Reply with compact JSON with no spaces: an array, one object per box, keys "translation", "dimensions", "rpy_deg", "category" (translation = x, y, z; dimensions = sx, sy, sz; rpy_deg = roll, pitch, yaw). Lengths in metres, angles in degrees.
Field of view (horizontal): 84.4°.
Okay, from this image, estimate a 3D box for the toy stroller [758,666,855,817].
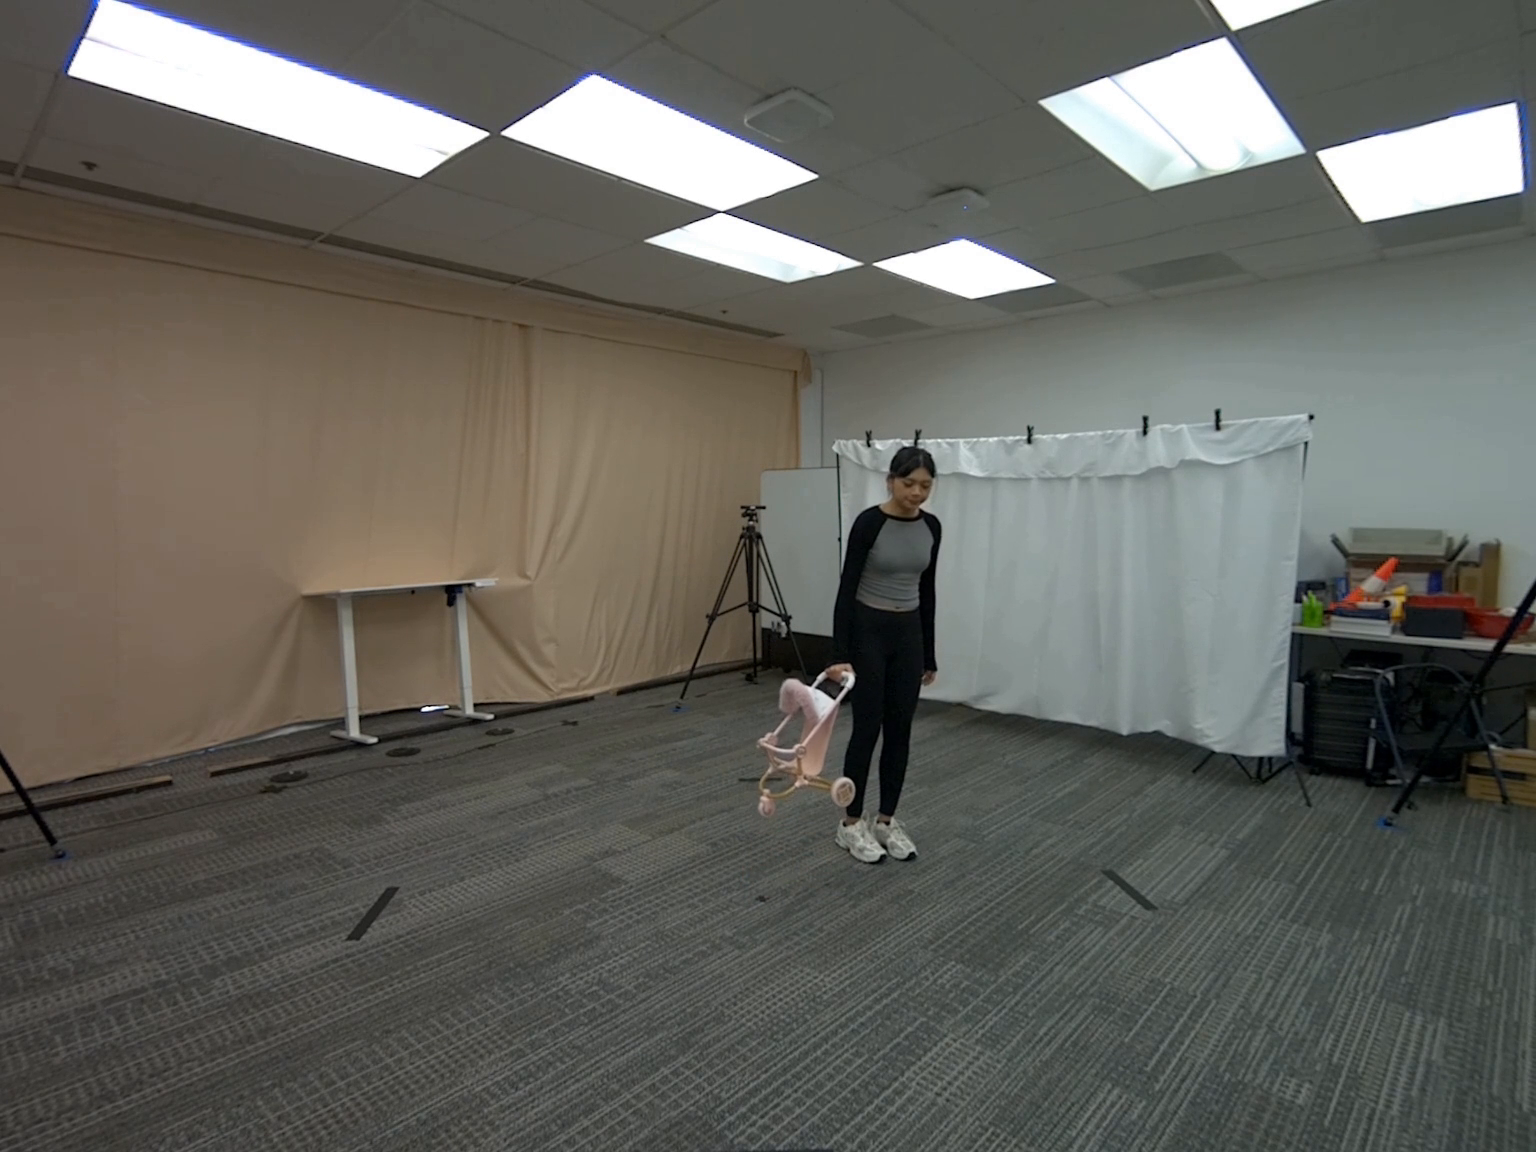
[{"translation":[0.127,0.624,3.121],"dimensions":[0.333,0.535,0.289],"rpy_deg":[4,0,-26],"category":"toy stroller"}]
